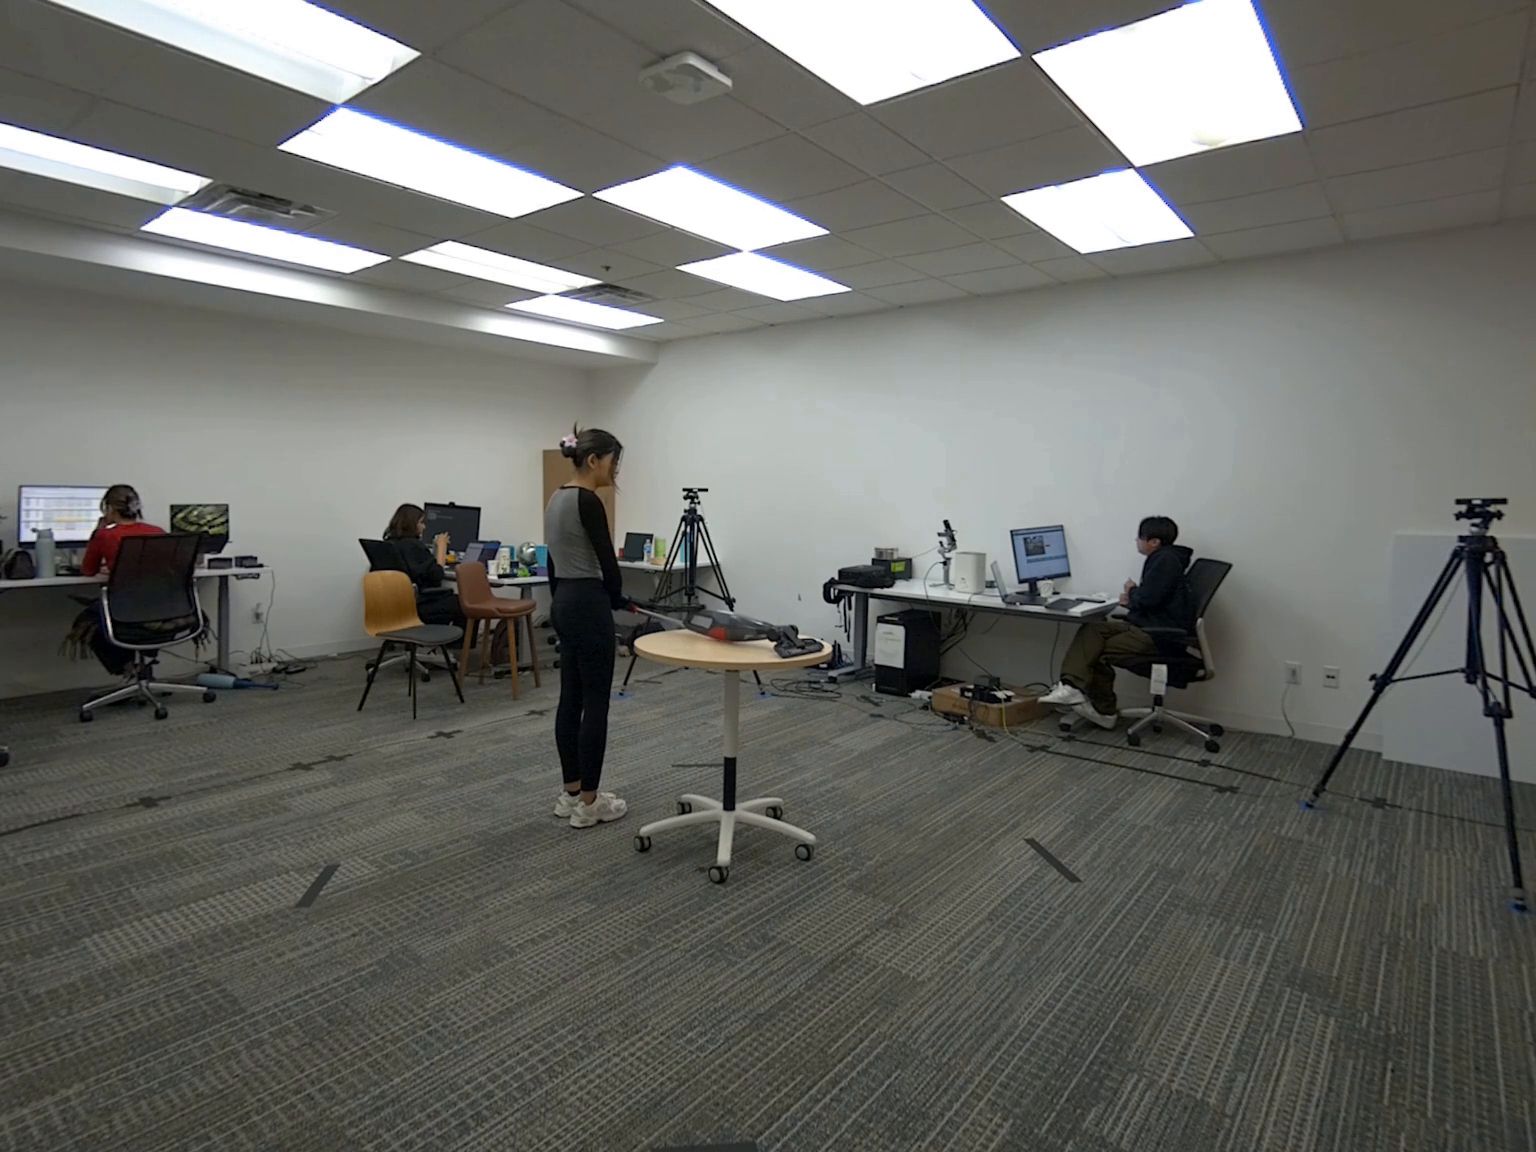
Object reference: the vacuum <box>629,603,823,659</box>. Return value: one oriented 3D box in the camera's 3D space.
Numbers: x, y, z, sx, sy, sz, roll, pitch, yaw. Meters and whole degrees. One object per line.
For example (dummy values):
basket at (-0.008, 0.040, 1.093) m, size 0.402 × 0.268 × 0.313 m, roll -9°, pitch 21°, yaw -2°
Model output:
vacuum at (-0.320, 0.160, 3.454) m, size 1.088 × 0.143 × 0.244 m, roll 13°, pitch 7°, yaw 39°
